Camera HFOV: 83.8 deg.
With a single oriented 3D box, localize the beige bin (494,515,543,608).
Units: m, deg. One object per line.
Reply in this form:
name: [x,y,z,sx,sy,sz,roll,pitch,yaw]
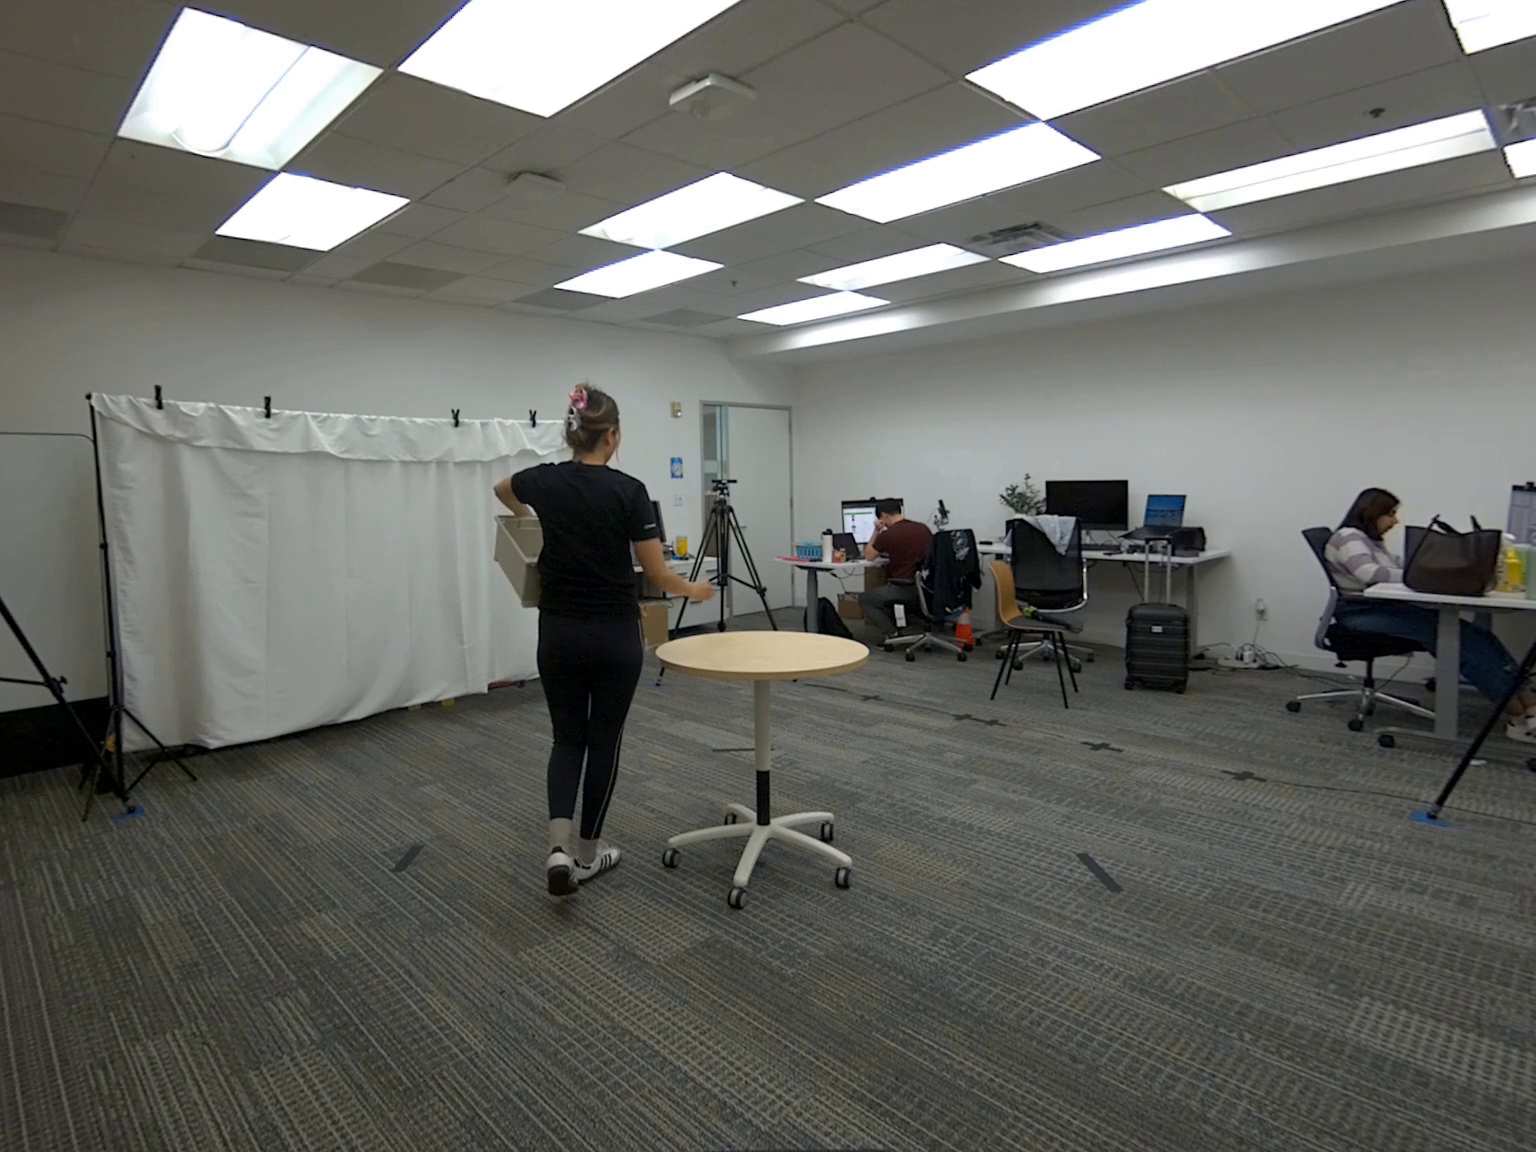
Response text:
beige bin: [-0.790,-0.064,3.198,0.368,0.186,0.439,-3,27,-31]
